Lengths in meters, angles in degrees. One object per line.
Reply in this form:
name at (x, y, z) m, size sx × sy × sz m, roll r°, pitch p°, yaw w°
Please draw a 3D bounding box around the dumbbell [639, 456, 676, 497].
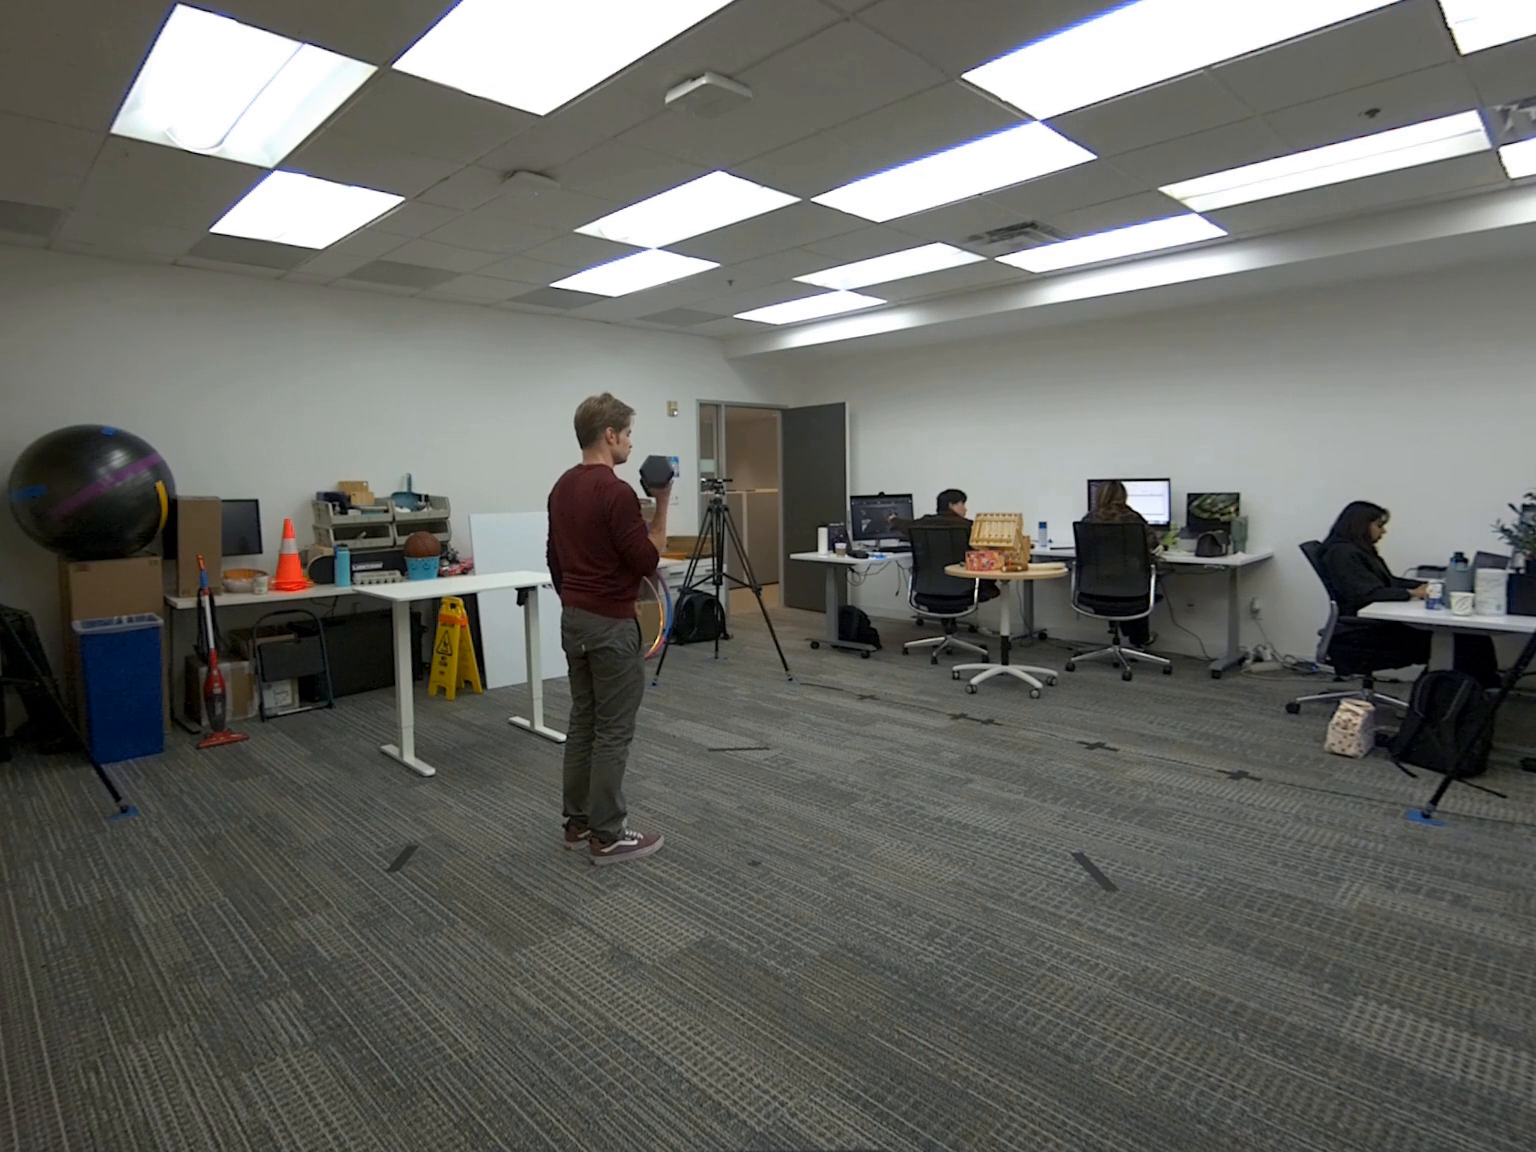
dumbbell at (-0.385, -0.244, 3.111) m, size 0.111 × 0.296 × 0.119 m, roll -7°, pitch -9°, yaw 27°
